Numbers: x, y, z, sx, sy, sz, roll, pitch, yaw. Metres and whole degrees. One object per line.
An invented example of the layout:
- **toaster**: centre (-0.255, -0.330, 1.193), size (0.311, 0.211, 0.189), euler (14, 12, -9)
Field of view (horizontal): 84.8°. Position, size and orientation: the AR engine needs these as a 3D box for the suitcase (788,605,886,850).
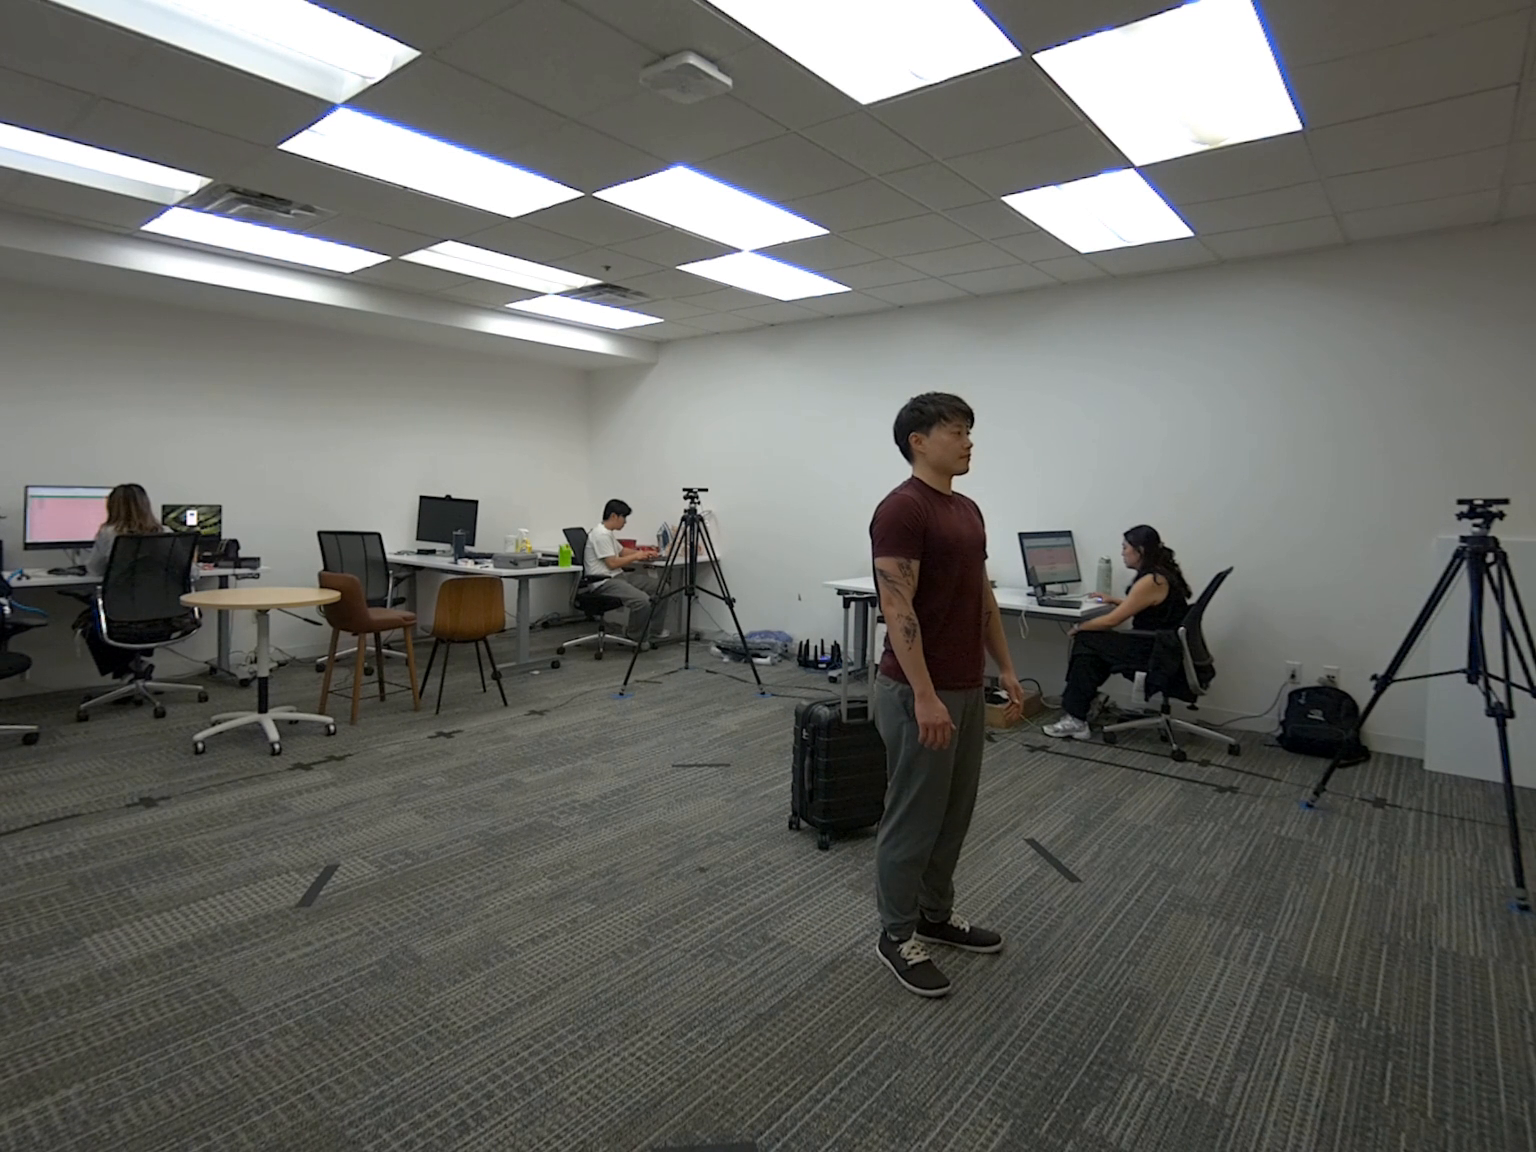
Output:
- **suitcase**: centre (0.291, 0.565, 3.480), size (0.375, 0.979, 0.263), euler (1, 0, -25)
